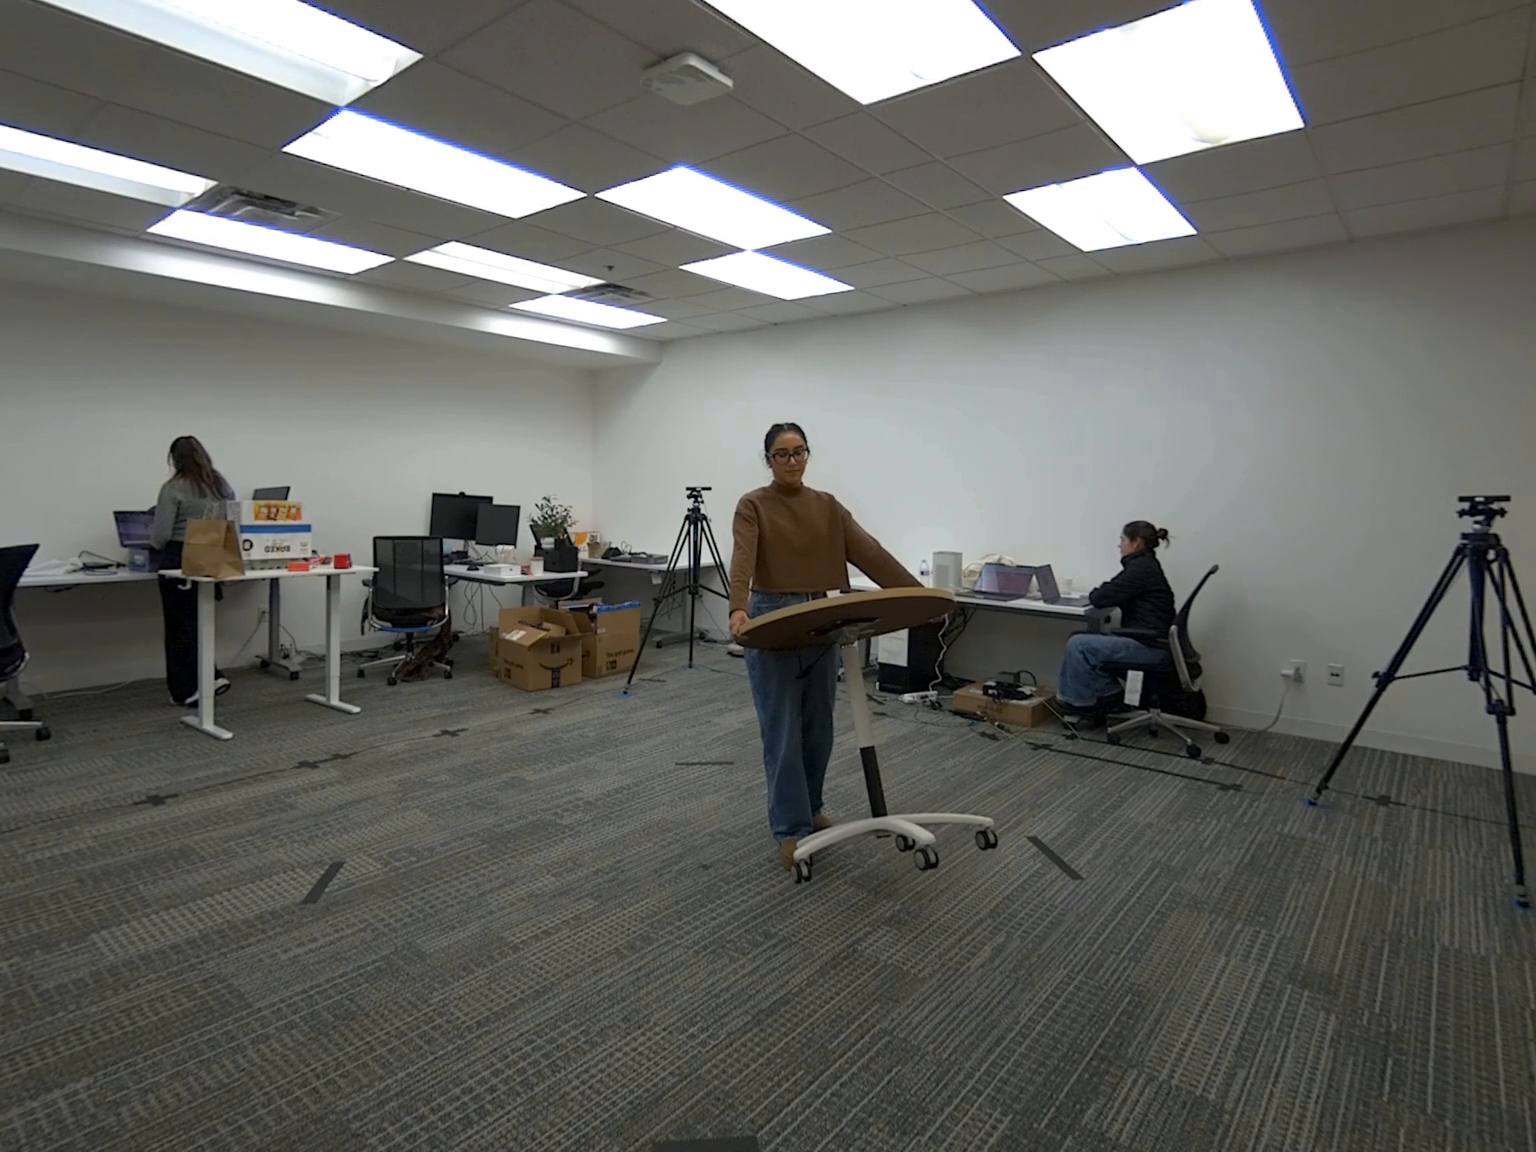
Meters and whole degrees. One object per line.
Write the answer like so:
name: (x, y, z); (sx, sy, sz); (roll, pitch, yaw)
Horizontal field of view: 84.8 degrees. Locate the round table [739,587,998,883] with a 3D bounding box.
round table: (0.330, 0.524, 2.828); (0.783, 0.800, 0.774); (-8, -15, -4)
